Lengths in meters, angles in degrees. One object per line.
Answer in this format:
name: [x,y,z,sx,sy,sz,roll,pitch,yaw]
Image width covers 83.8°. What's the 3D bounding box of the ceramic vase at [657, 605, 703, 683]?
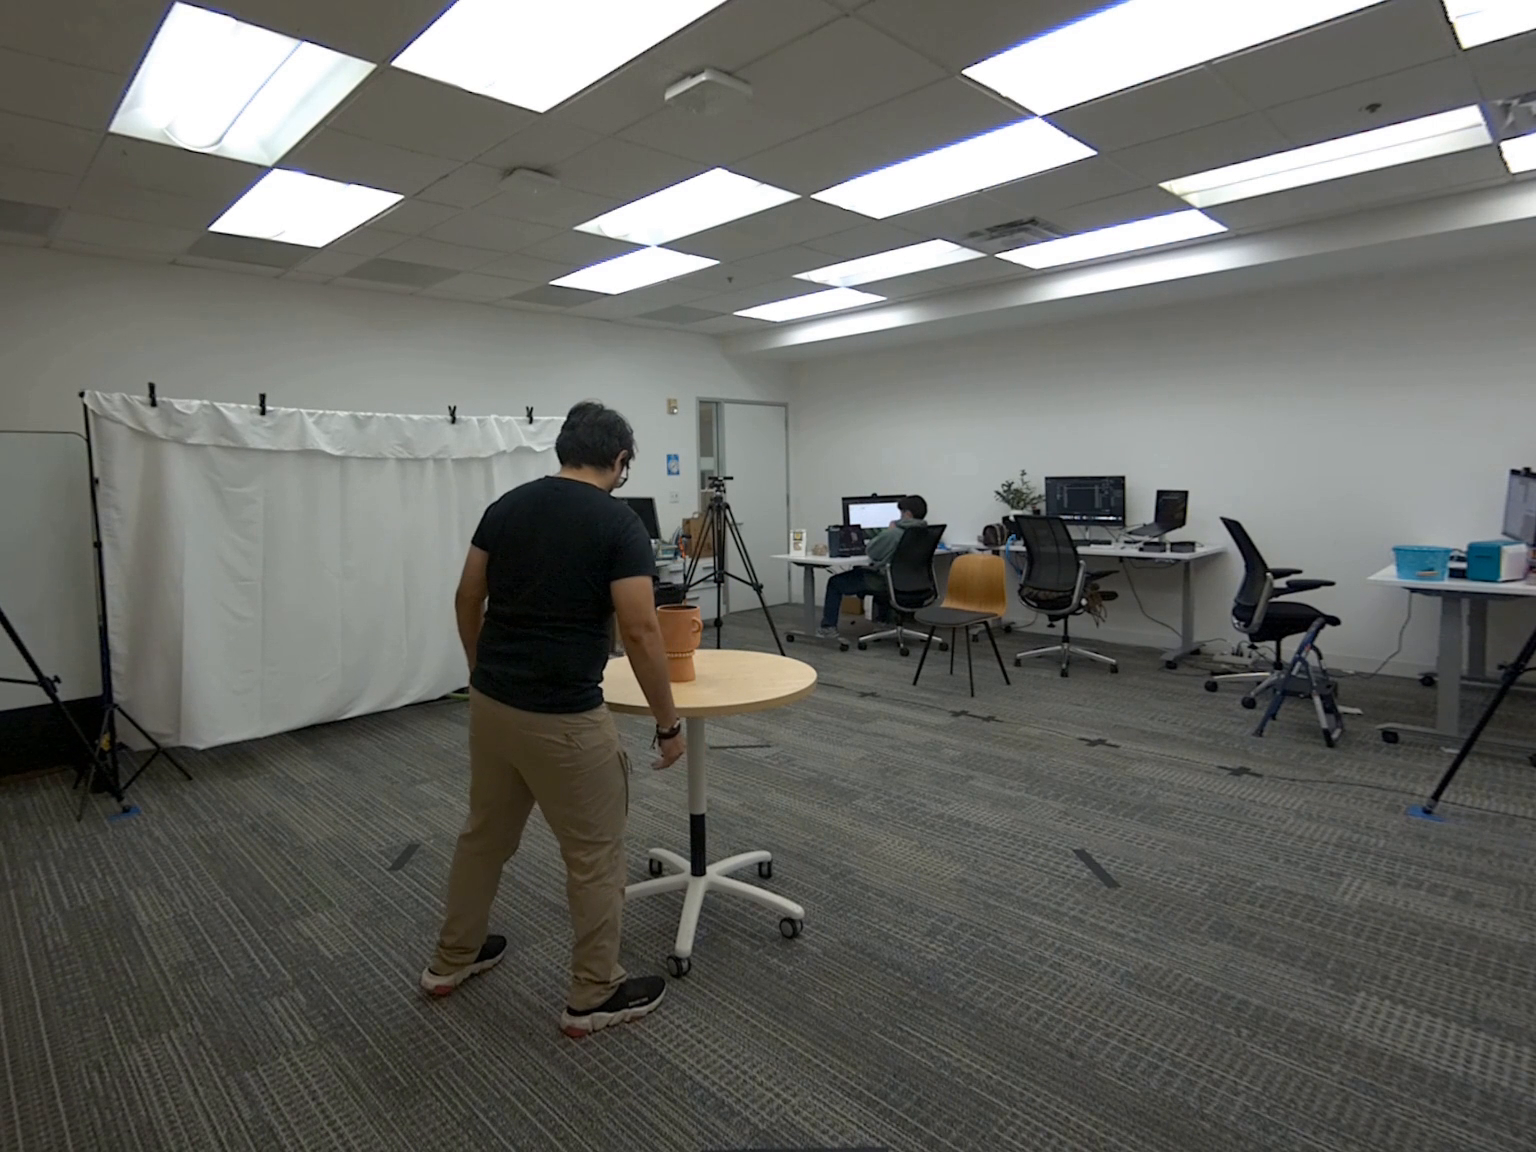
ceramic vase: [-0.268,0.210,2.609,0.133,0.219,0.161,-2,5,-10]
